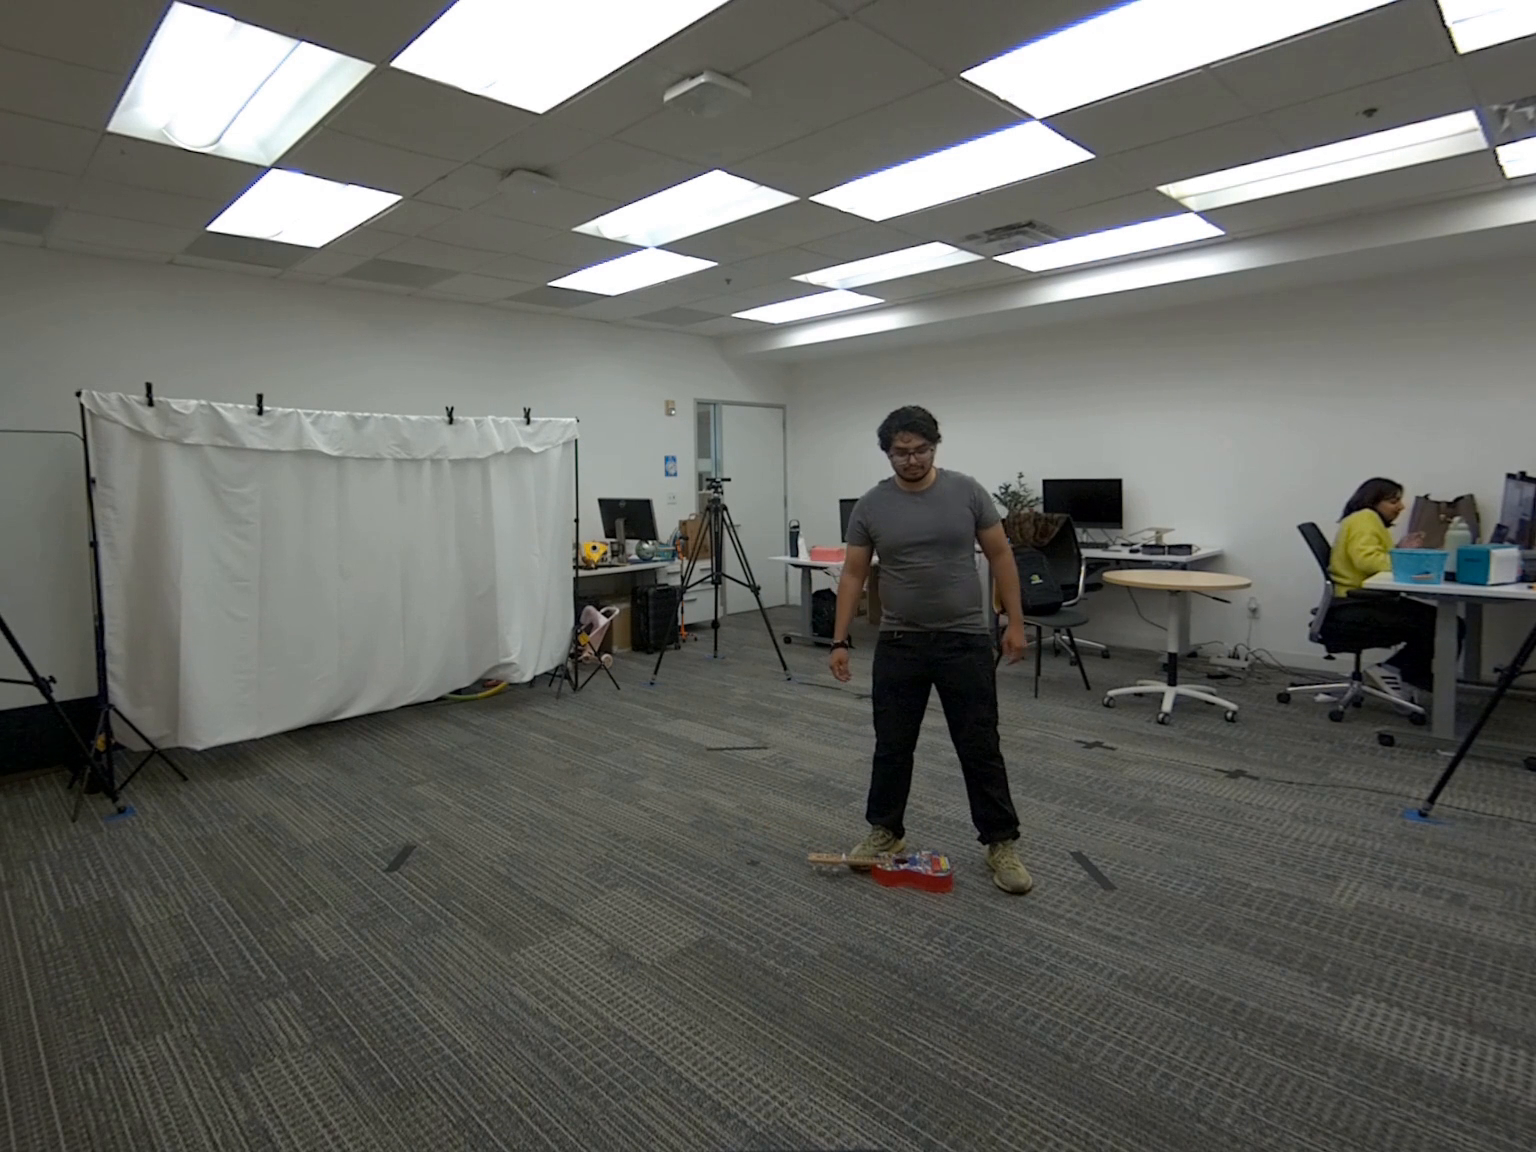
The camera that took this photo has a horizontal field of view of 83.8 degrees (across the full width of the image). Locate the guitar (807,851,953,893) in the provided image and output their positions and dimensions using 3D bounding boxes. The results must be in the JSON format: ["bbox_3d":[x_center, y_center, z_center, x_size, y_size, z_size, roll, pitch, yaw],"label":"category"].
[{"bbox_3d":[0.390,1.006,3.005,0.506,0.070,0.191,1,7,16],"label":"guitar"}]
